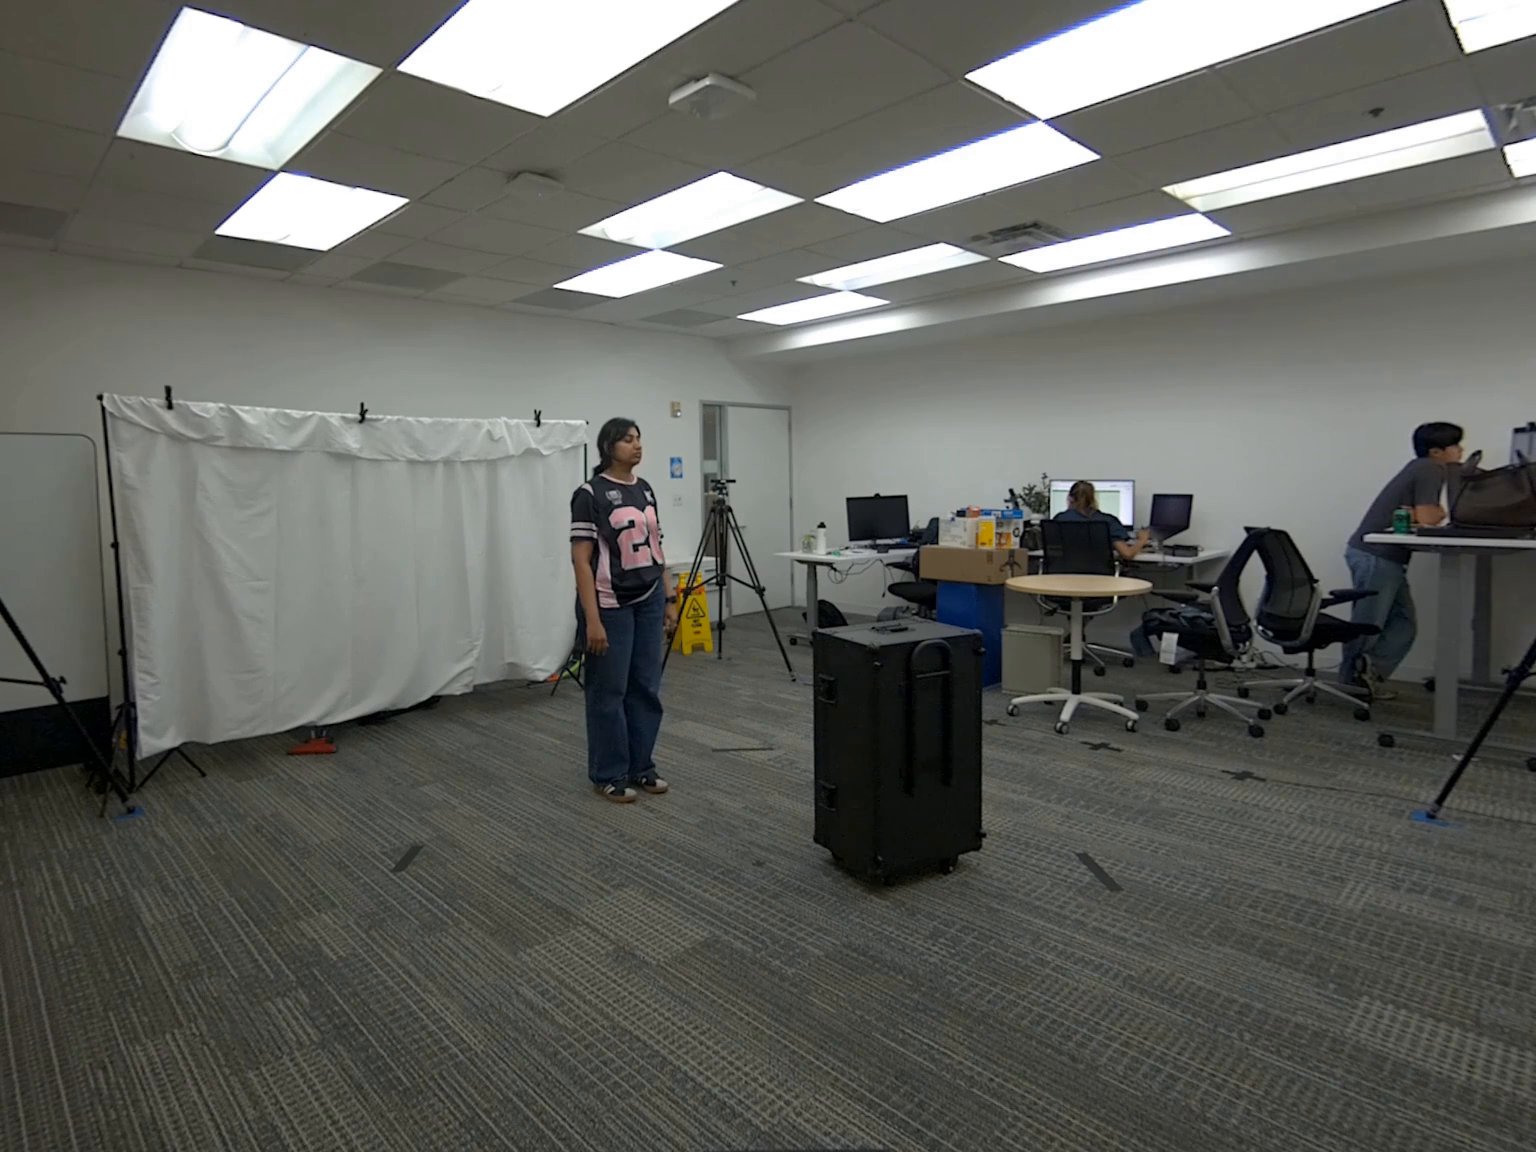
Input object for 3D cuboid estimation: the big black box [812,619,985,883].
[{"bbox_3d":[0.470,0.619,3.058,0.511,0.865,0.396,-3,5,-29],"label":"big black box"}]
